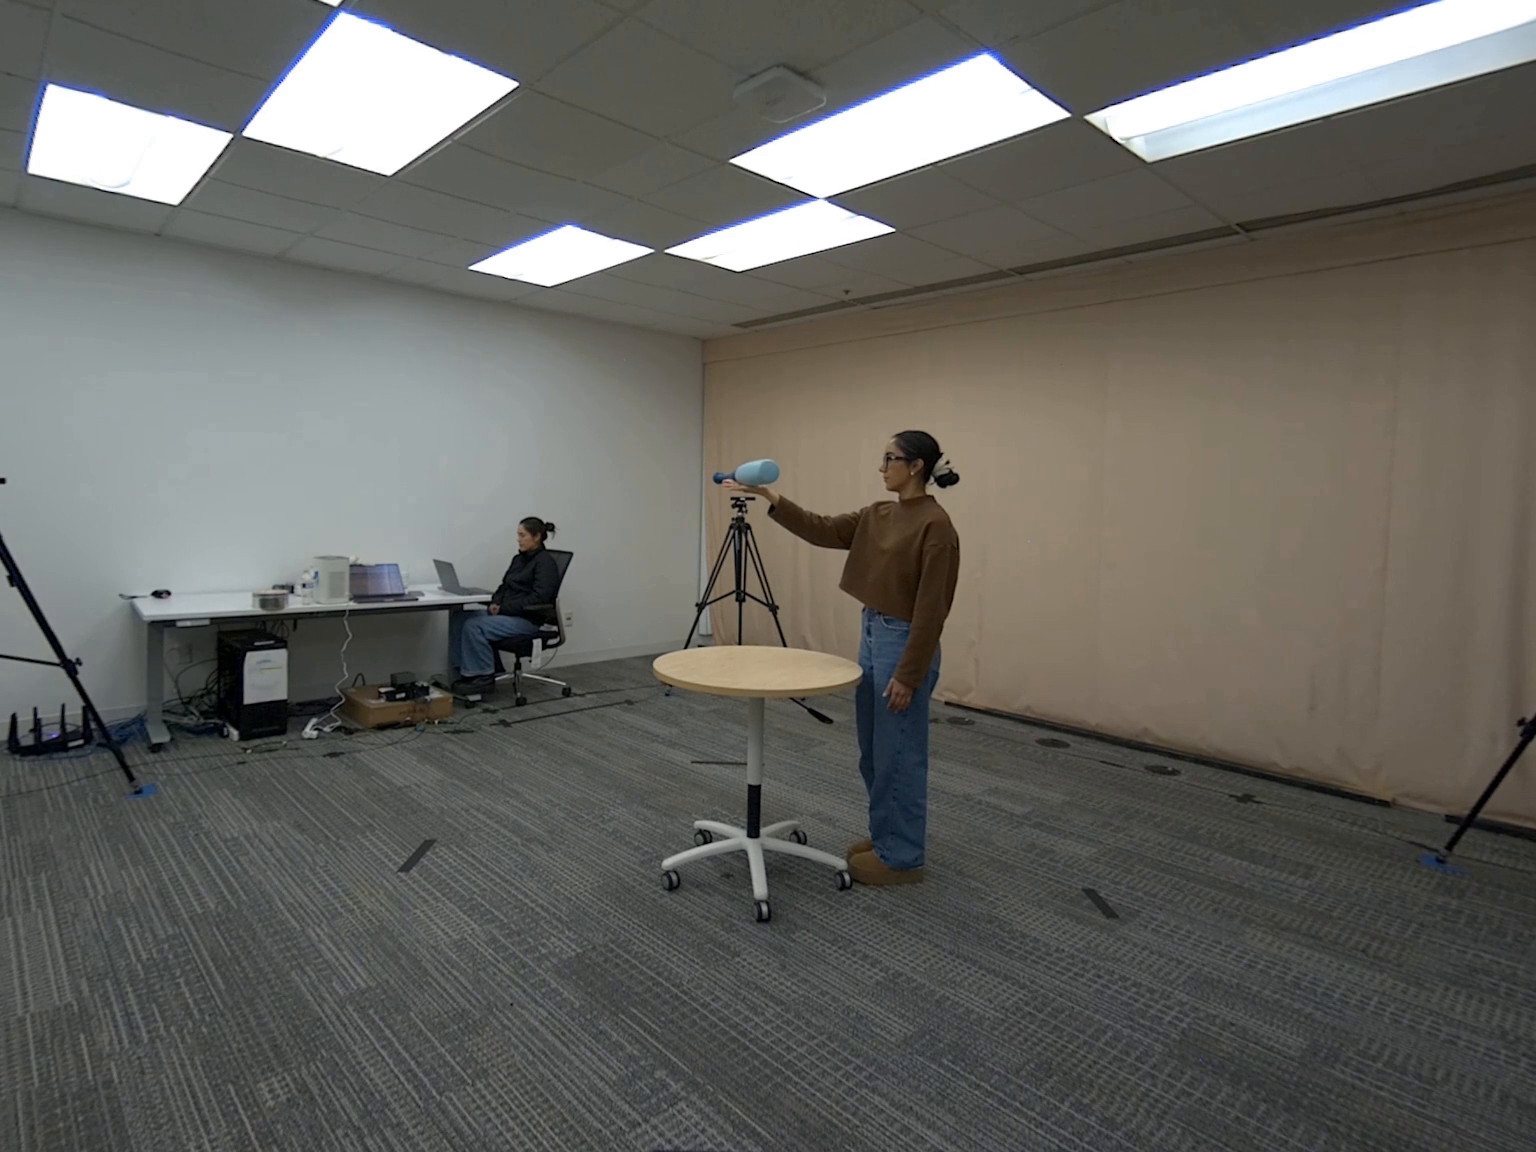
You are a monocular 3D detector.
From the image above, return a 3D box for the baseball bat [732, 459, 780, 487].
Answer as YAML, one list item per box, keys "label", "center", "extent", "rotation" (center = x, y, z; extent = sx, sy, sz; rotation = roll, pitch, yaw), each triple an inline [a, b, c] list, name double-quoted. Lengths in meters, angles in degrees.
- label: "baseball bat"
  center: [-0.105, -0.380, 3.183]
  extent: [0.087, 0.089, 0.552]
  rotation: [0, 3, -22]
